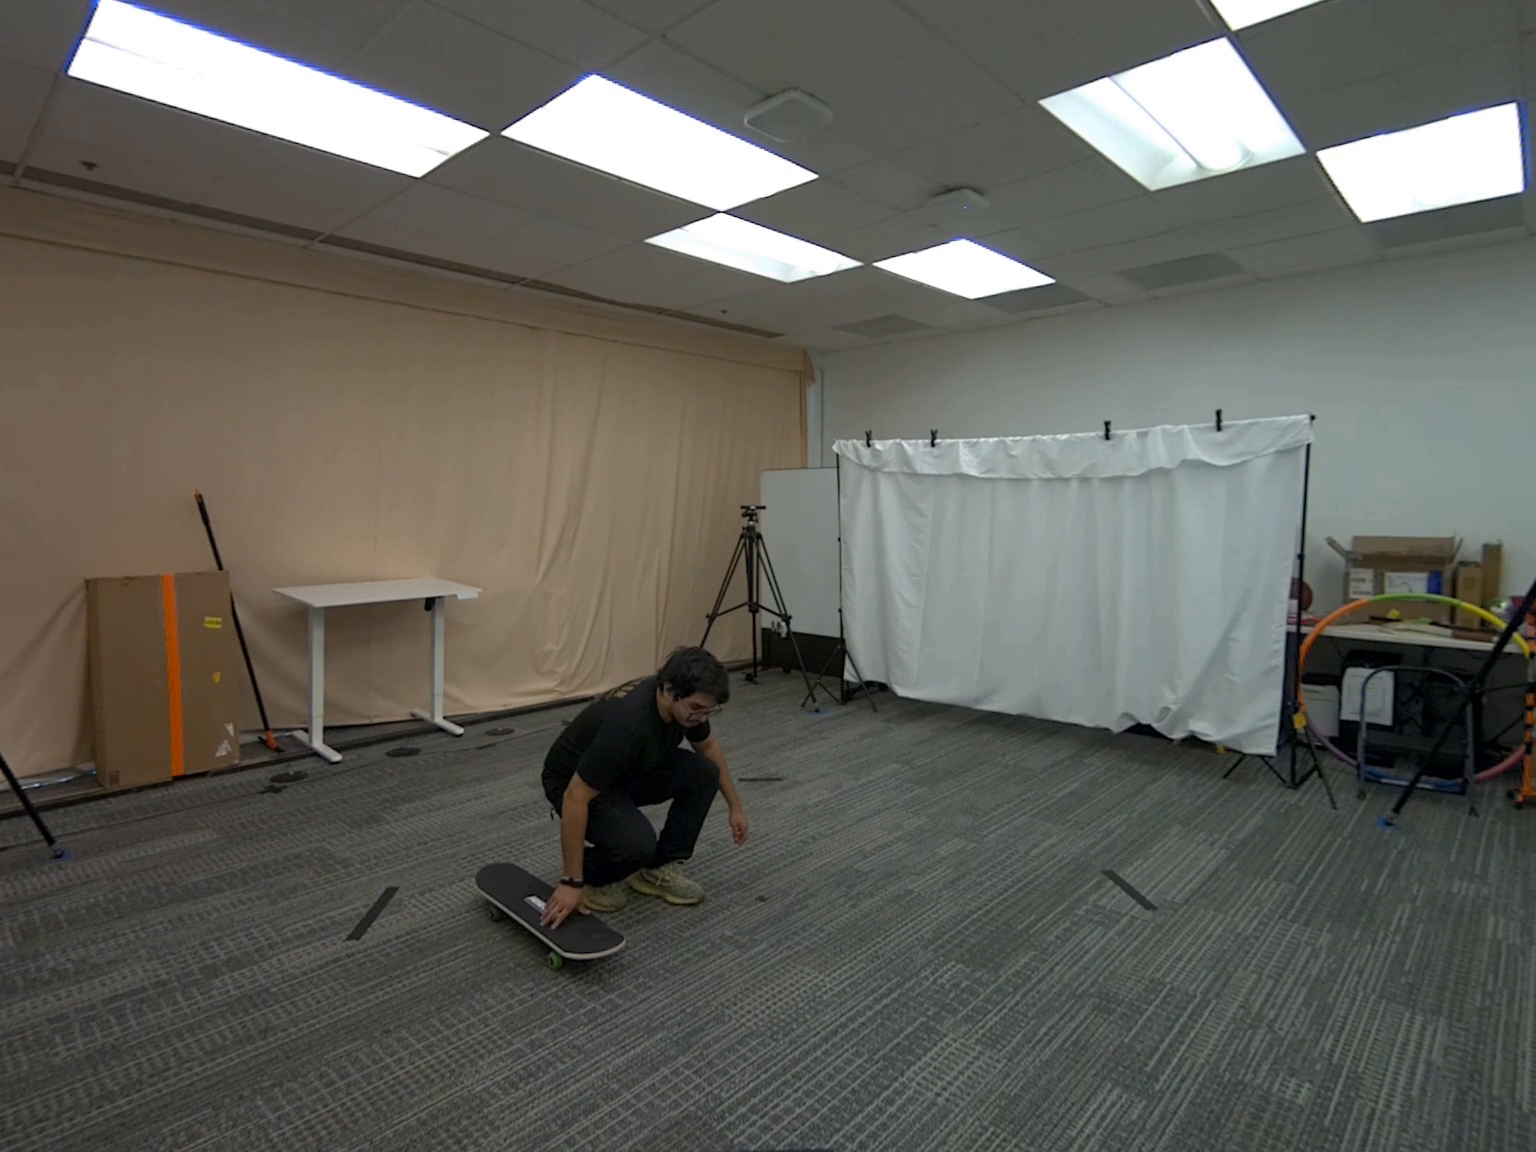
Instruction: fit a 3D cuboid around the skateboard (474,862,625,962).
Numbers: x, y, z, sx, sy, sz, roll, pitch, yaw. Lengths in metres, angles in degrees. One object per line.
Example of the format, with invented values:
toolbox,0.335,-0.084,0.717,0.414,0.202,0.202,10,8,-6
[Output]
skateboard,-0.726,1.112,2.743,0.187,0.110,0.811,-5,6,-42
